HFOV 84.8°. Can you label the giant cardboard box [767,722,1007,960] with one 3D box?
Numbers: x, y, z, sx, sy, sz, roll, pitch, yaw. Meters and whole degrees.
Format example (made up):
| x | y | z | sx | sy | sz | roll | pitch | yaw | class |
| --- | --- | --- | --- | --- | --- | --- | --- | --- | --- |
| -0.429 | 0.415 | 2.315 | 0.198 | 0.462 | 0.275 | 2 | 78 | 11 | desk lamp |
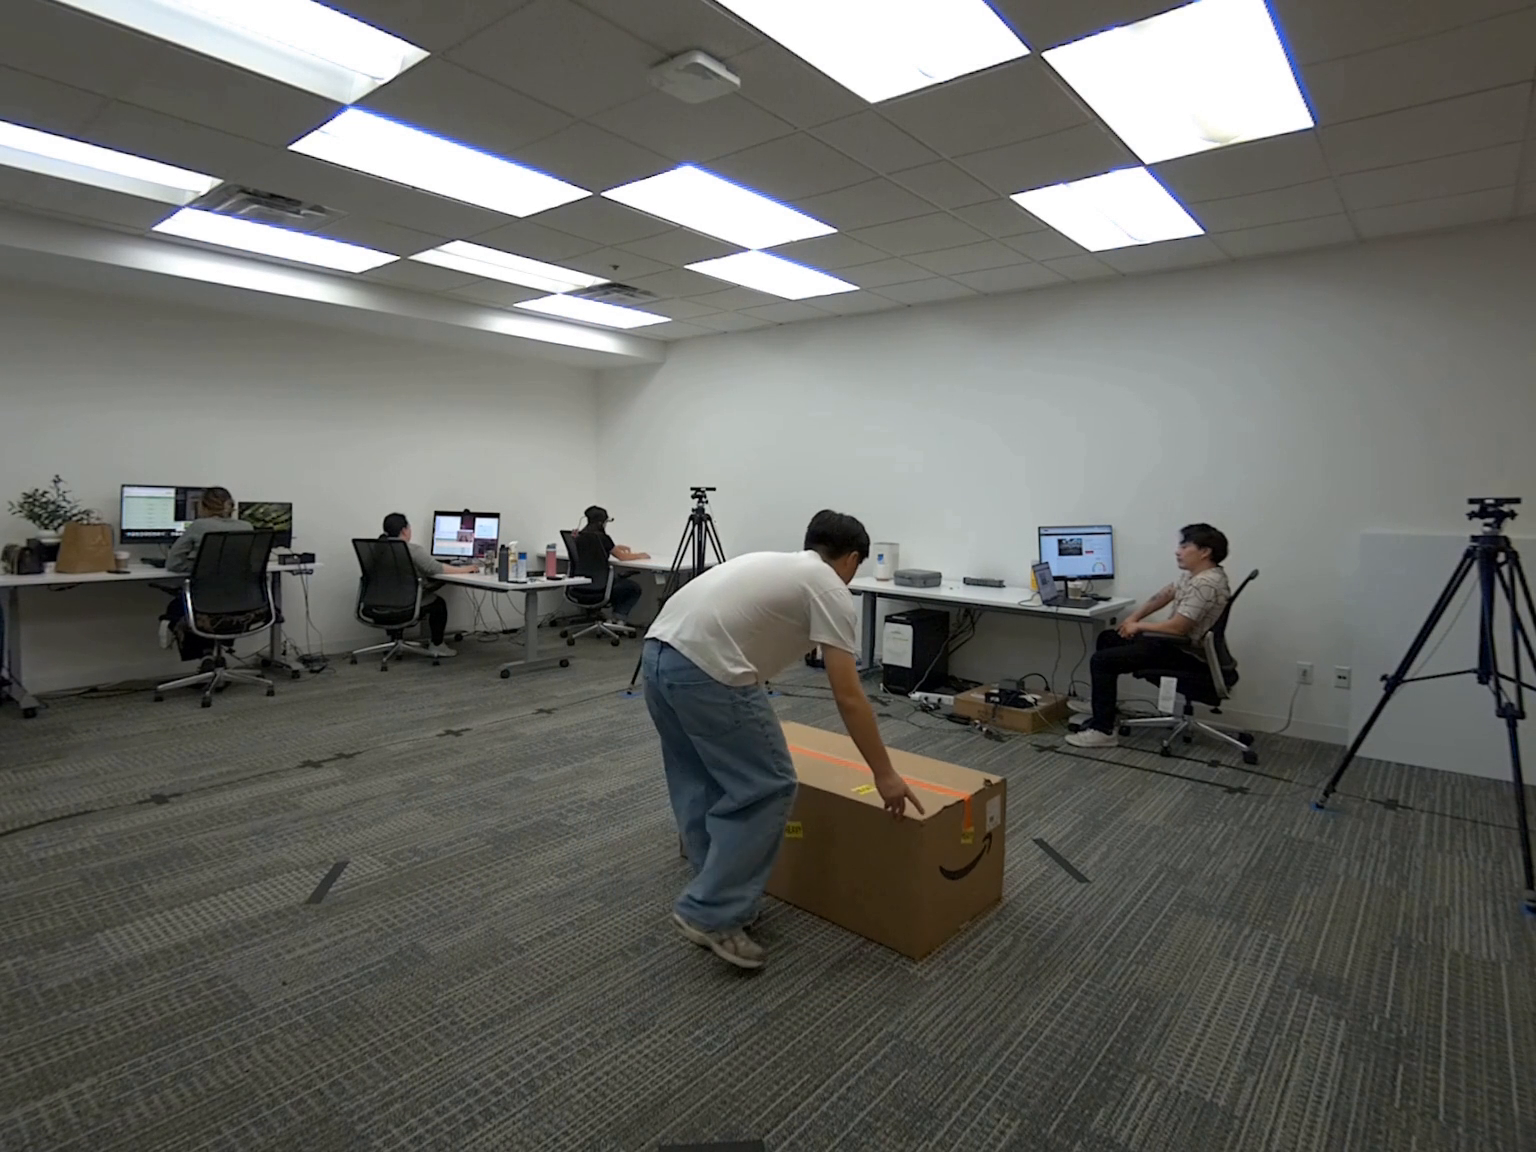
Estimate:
| x | y | z | sx | sy | sz | roll | pitch | yaw | class |
| --- | --- | --- | --- | --- | --- | --- | --- | --- | --- |
| 0.235 | 0.864 | 3.062 | 1.061 | 0.424 | 0.560 | 6 | 7 | 42 | giant cardboard box |
